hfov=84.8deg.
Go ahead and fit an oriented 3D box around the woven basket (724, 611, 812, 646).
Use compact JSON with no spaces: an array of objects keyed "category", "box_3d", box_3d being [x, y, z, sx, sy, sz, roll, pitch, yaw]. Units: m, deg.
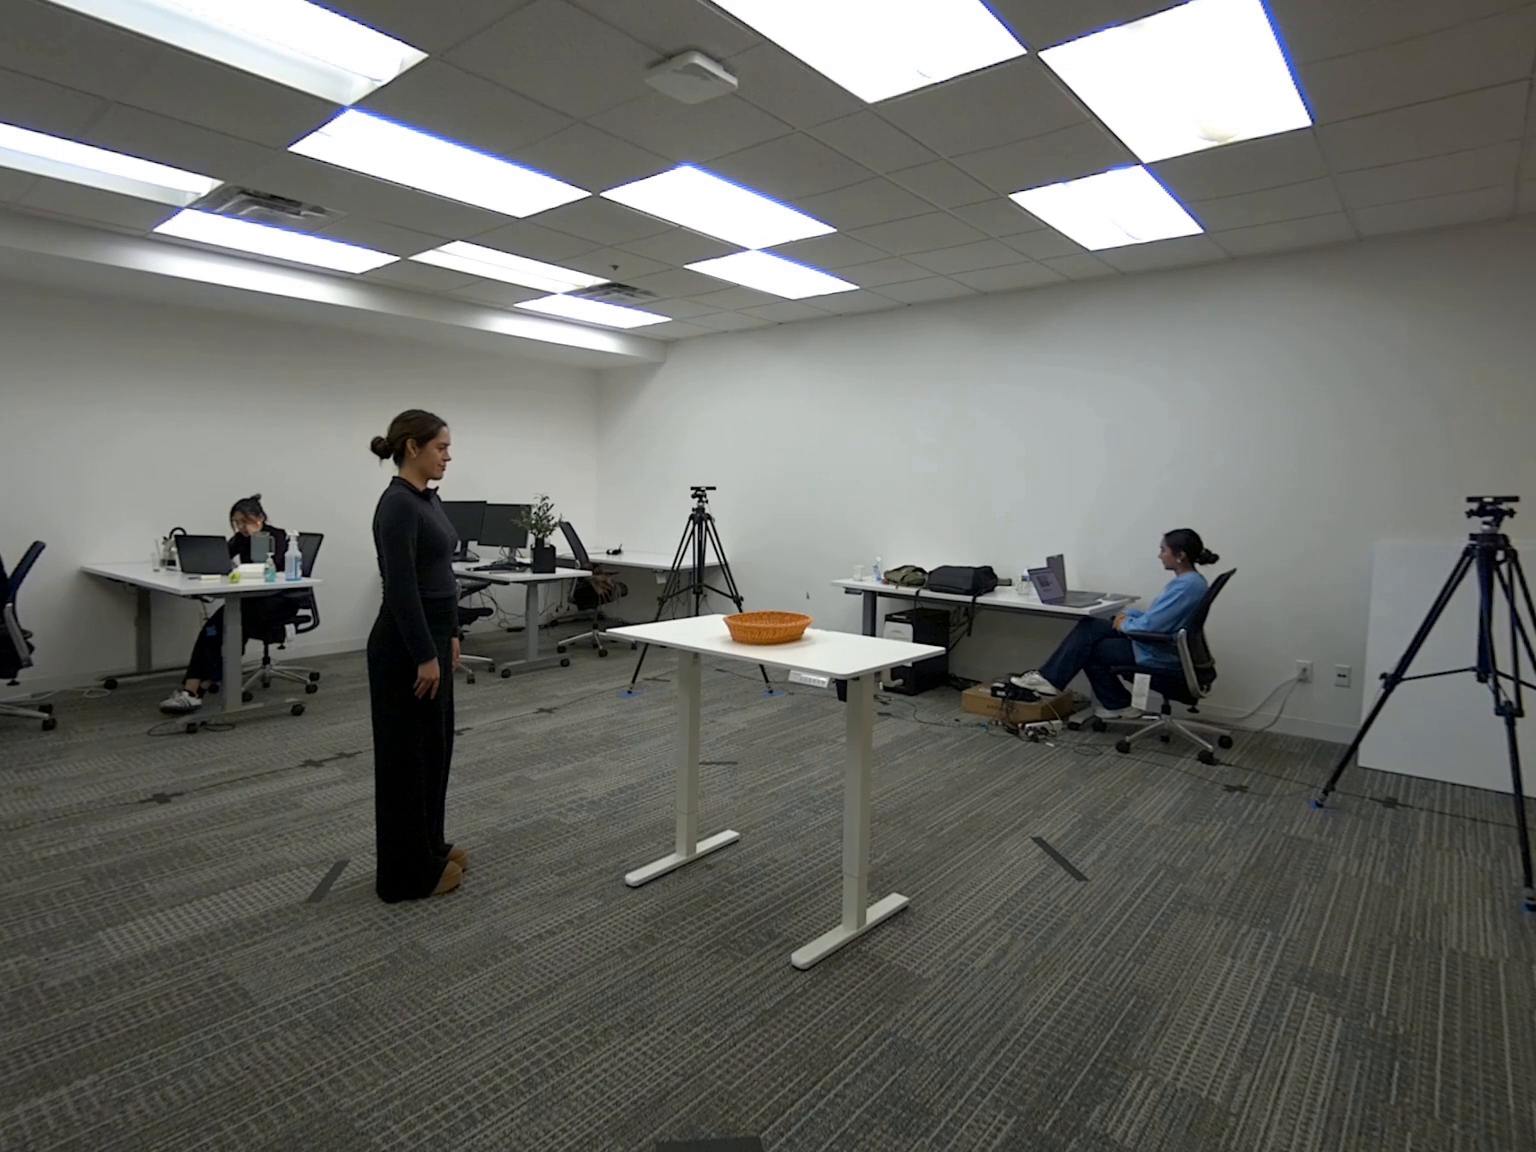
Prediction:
[{"category":"woven basket","box_3d":[-0.008,0.182,2.866,0.261,0.073,0.340,7,7,44]}]
